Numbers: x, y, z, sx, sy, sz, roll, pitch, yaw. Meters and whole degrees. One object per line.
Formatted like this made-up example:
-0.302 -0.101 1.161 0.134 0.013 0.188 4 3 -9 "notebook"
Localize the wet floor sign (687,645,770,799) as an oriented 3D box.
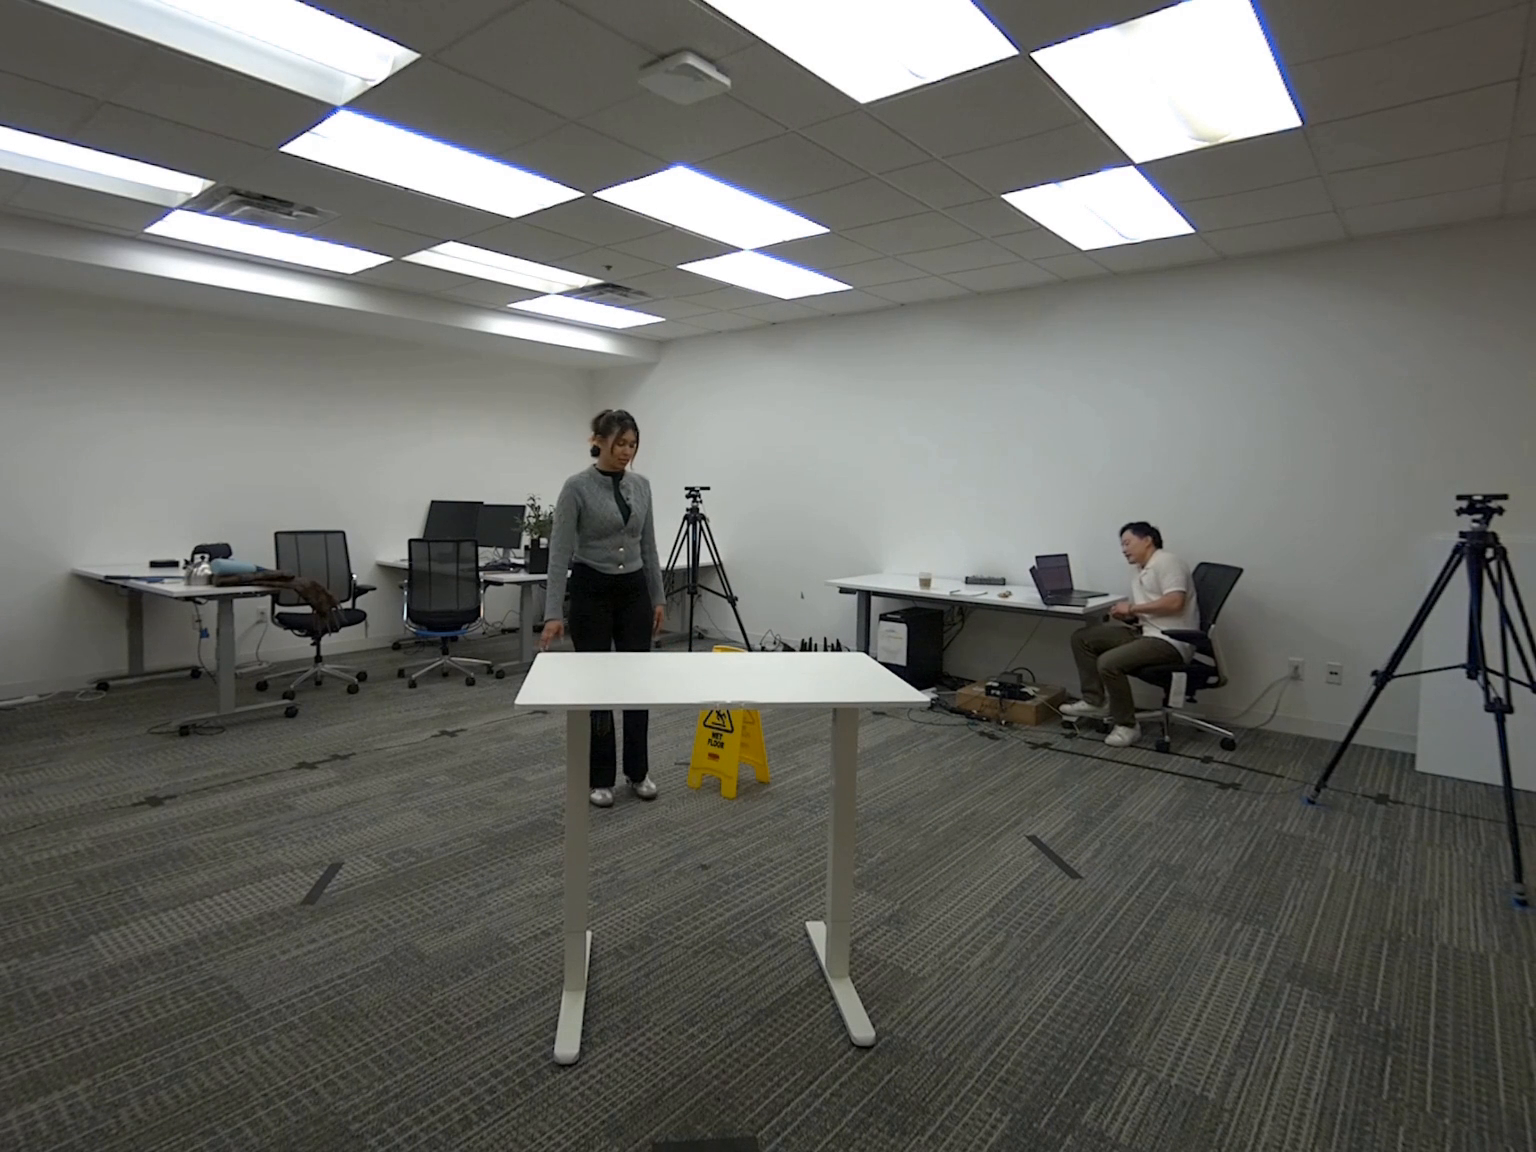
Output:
-0.189 0.662 3.994 0.291 0.644 0.281 4 4 37 "wet floor sign"
